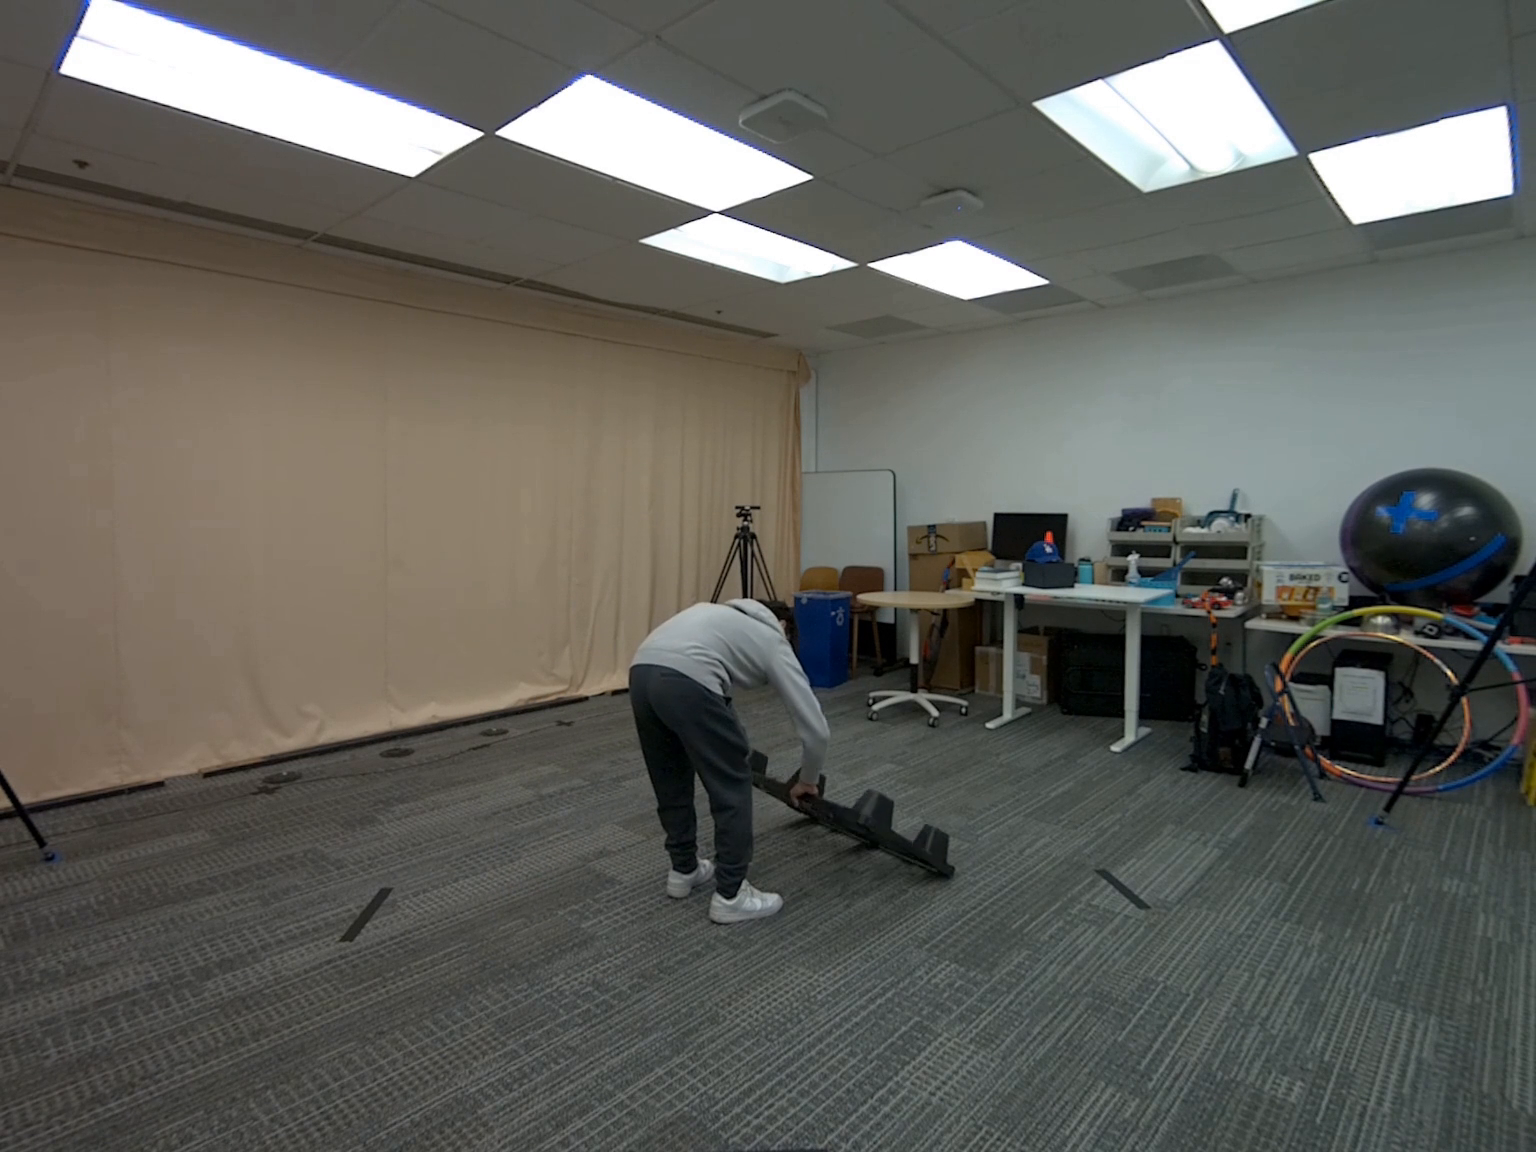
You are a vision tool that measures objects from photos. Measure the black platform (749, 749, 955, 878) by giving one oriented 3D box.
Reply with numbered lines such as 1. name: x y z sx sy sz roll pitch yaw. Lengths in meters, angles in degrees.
1. black platform: 0.278 0.908 3.318 0.585 0.143 0.832 37 -20 -35
